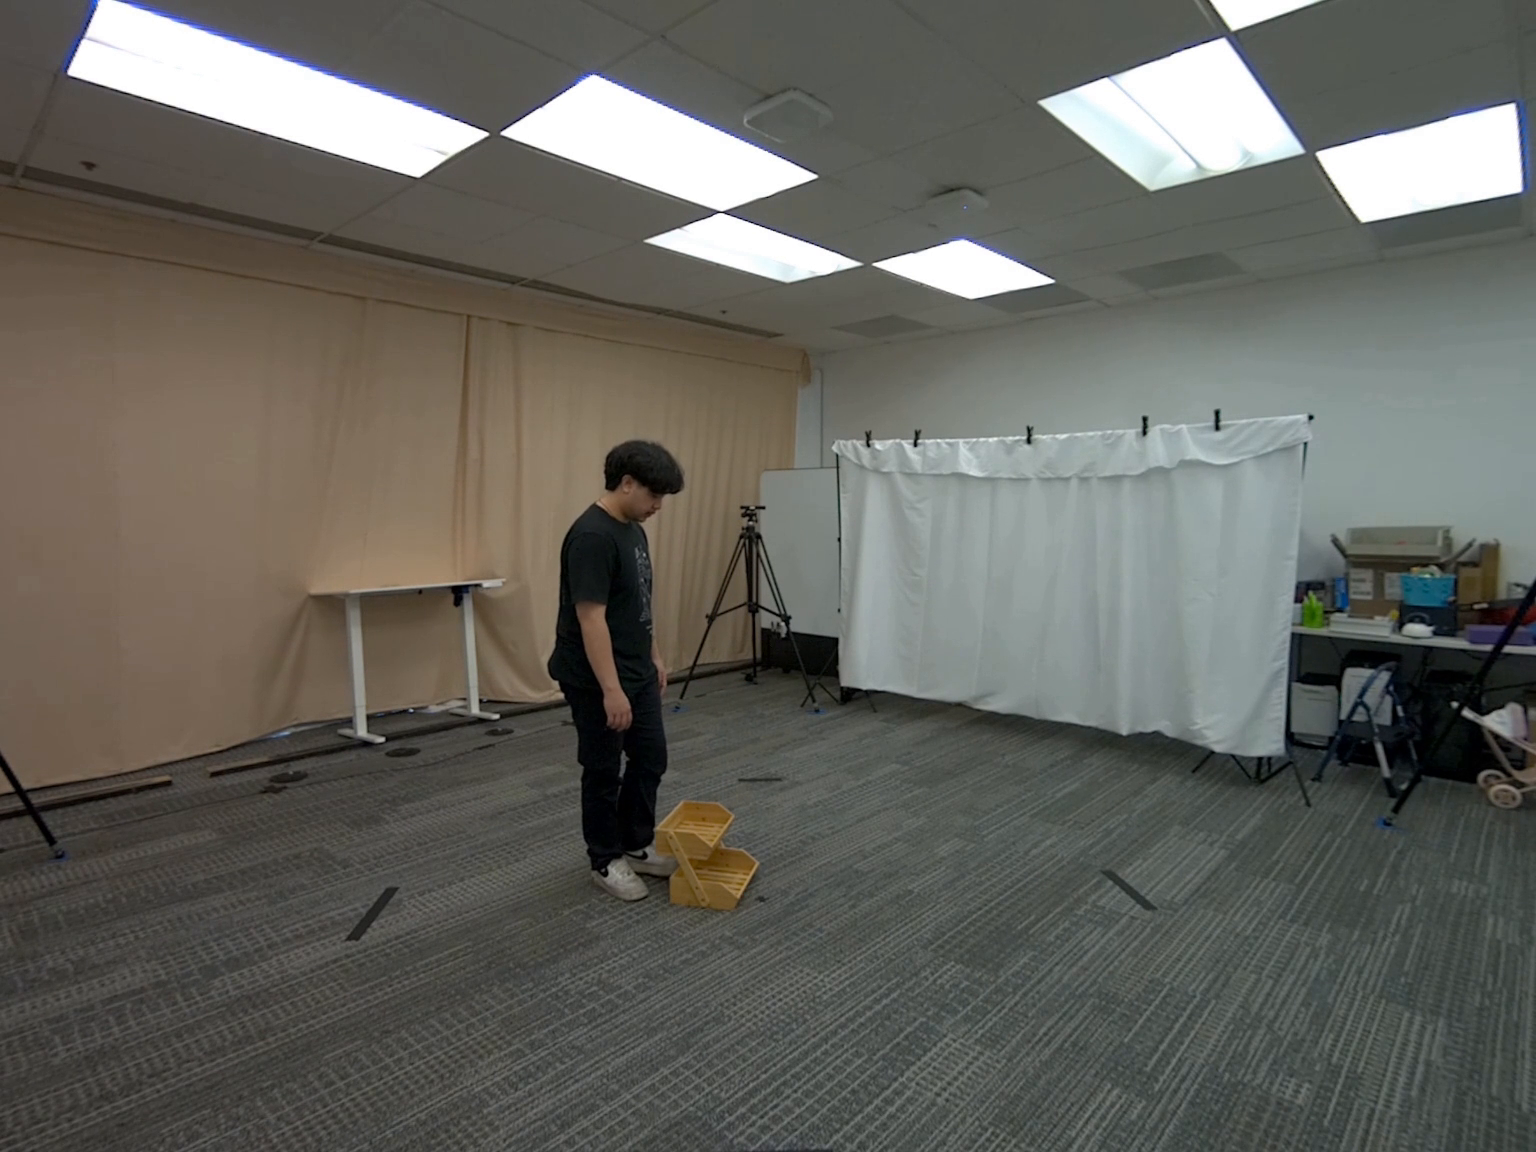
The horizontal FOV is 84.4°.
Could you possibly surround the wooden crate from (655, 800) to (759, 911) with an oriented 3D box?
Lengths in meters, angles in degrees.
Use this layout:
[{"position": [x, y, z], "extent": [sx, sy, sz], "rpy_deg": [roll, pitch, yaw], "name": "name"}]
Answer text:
[{"position": [-0.209, 1.003, 3.062], "extent": [0.307, 0.273, 0.320], "rpy_deg": [0, 4, 14], "name": "wooden crate"}]
